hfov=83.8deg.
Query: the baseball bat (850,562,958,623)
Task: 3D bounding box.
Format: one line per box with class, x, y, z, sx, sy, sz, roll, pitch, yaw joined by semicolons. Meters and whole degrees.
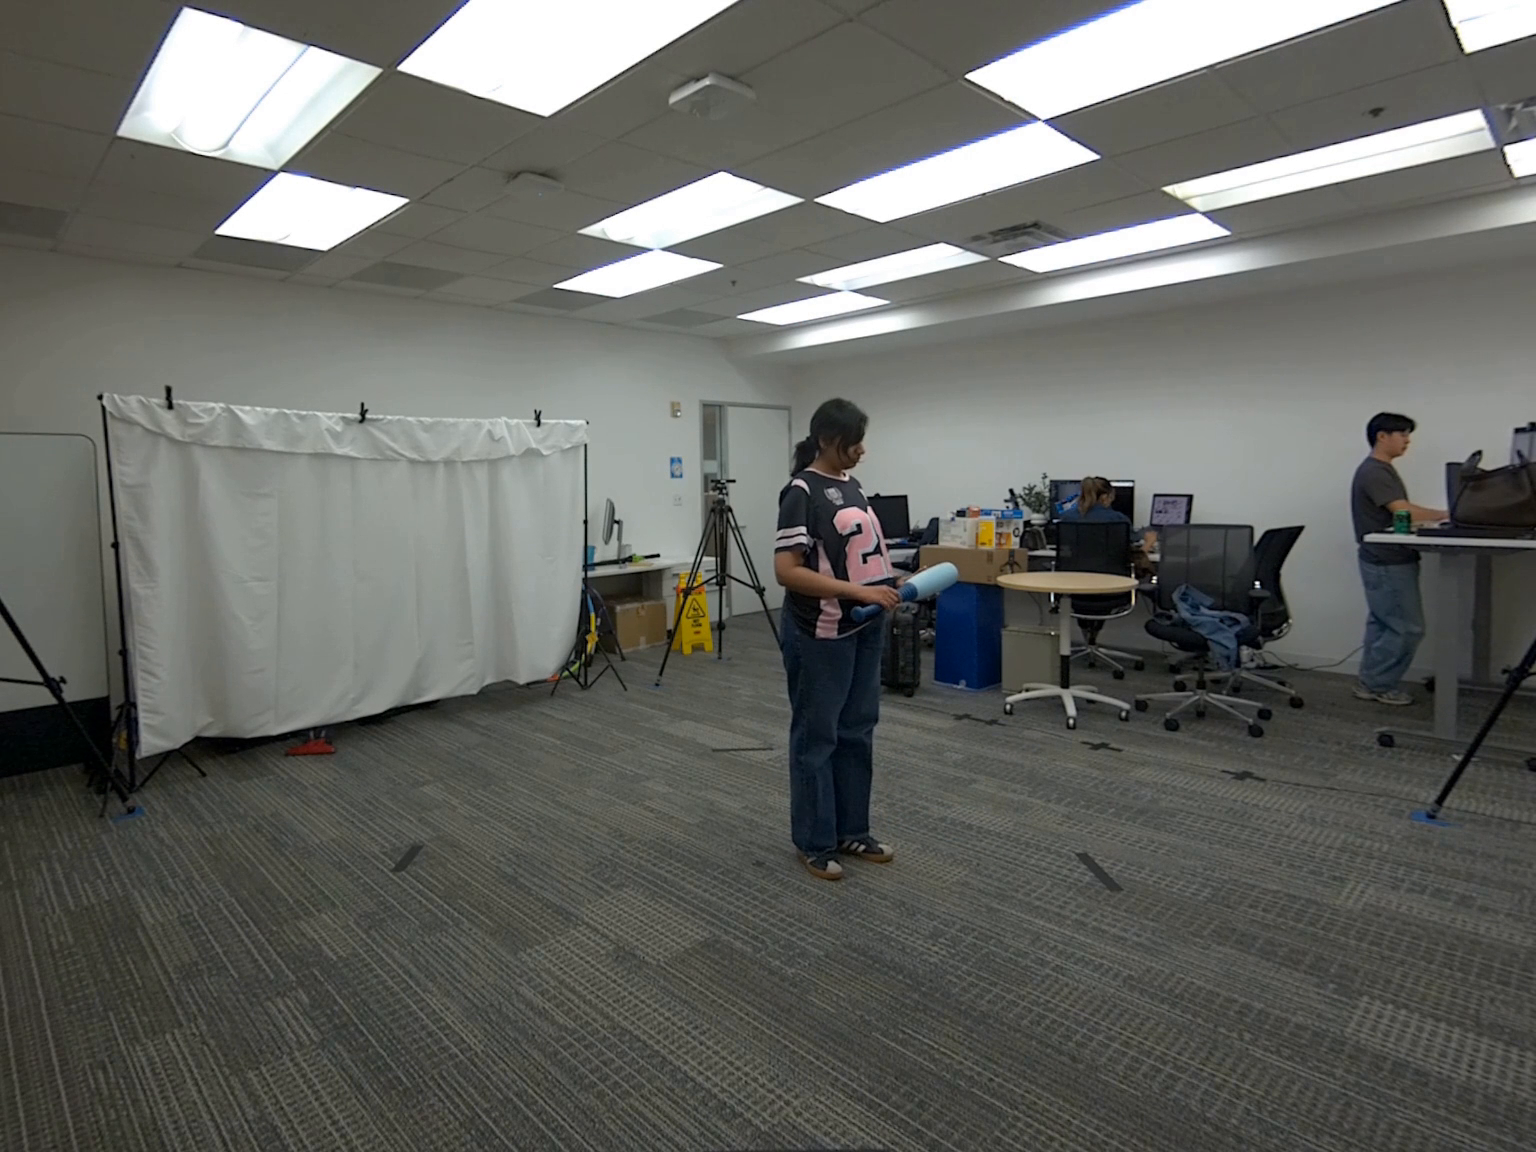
baseball bat;0.465;0.060;2.907;0.533;0.088;0.092;-20;17;-42
